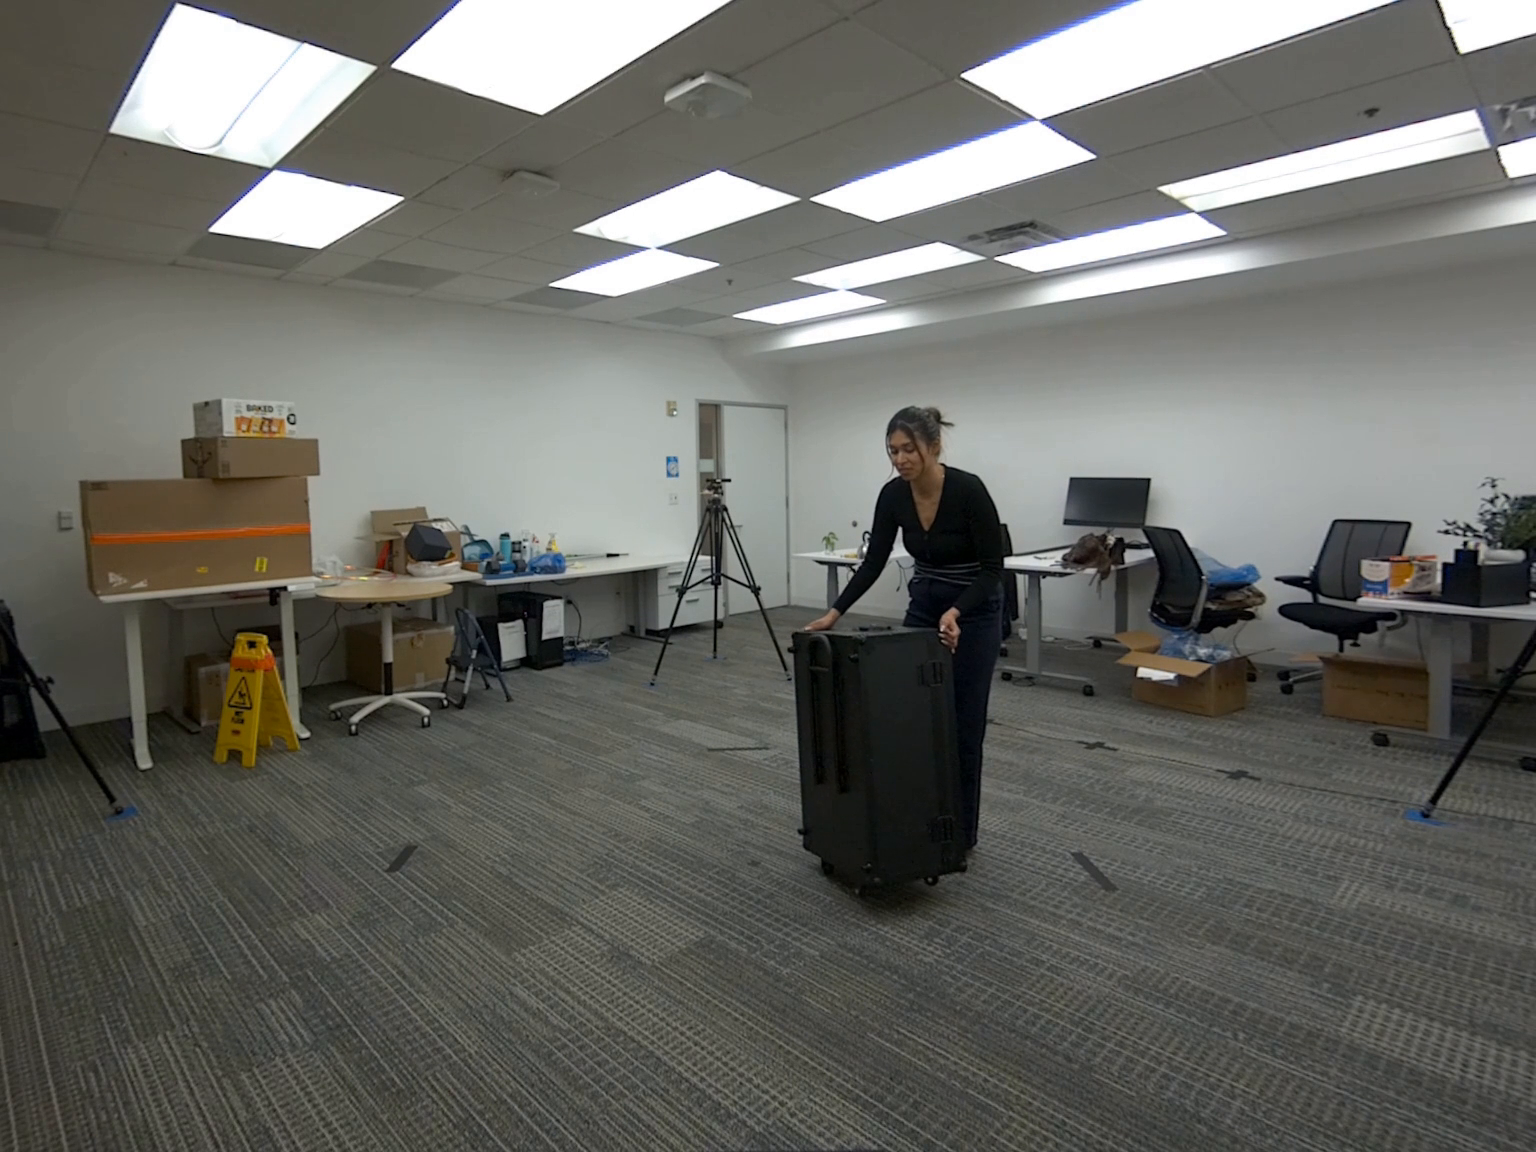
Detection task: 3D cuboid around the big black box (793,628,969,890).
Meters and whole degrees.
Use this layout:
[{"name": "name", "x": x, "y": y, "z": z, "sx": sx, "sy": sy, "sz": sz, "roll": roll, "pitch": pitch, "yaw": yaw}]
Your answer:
[{"name": "big black box", "x": 0.363, "y": 0.615, "z": 2.938, "sx": 0.389, "sy": 0.865, "sz": 0.529, "roll": -2, "pitch": -3, "yaw": -22}]
